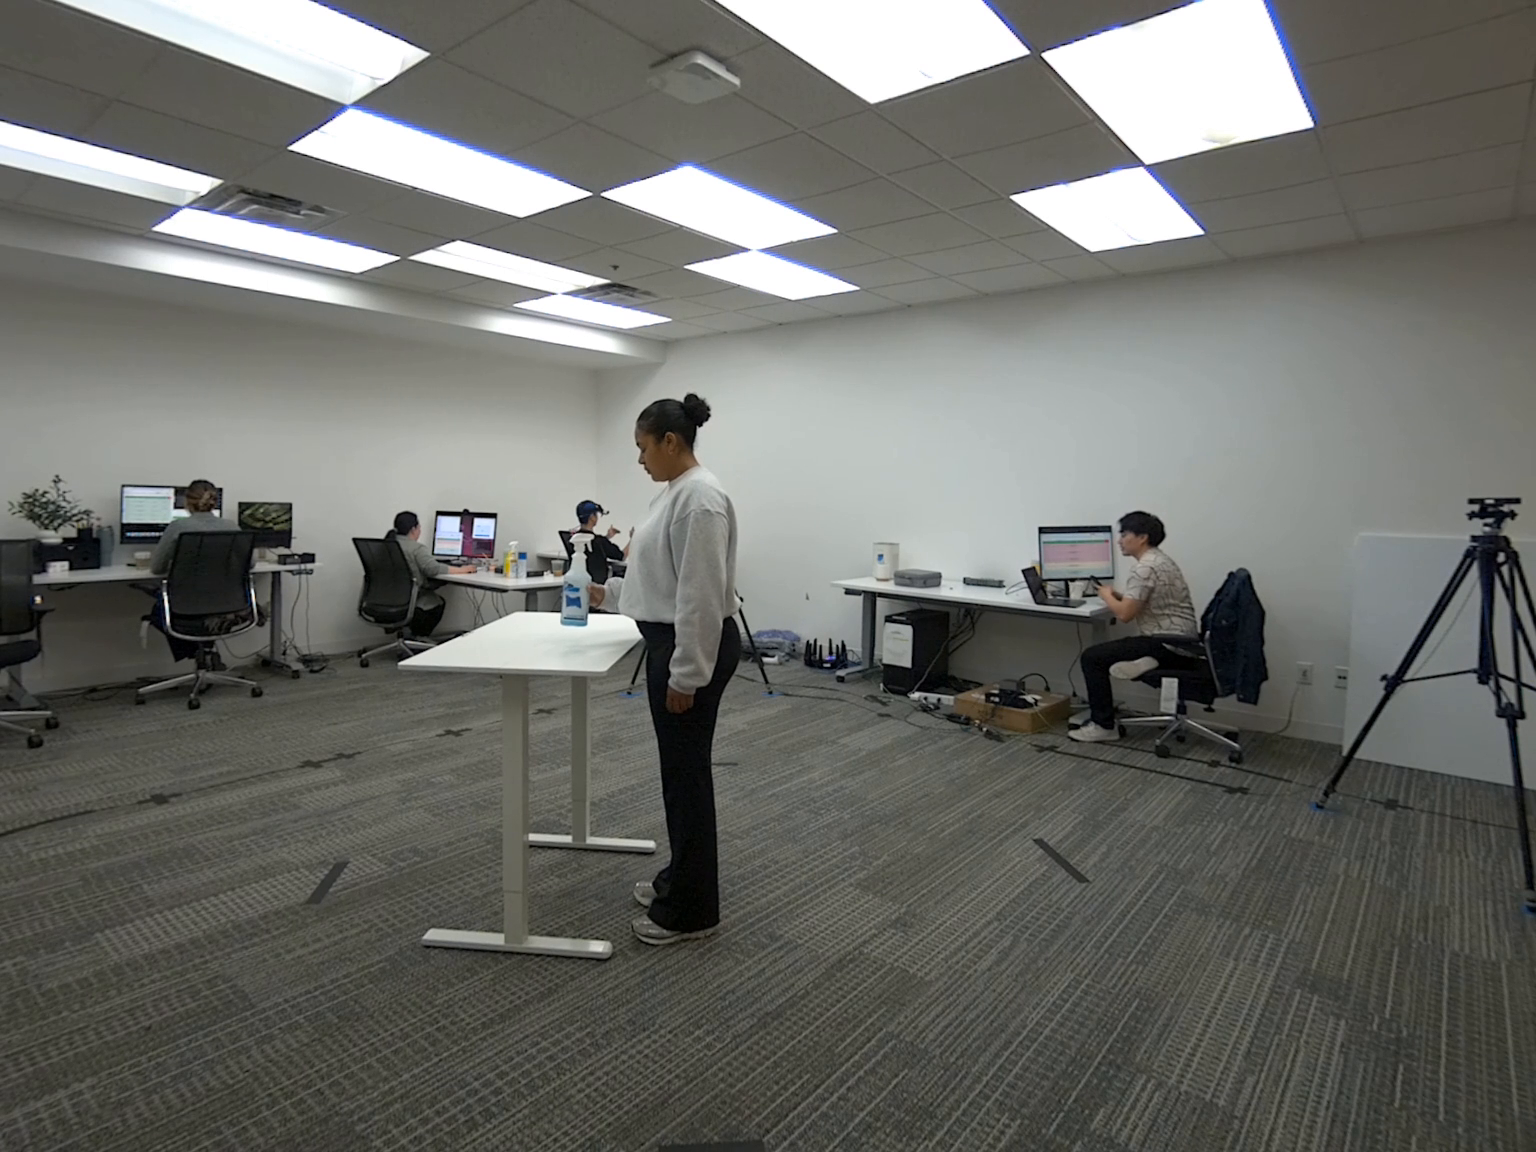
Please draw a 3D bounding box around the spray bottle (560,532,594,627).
[{"bbox_3d":[-0.617,0.014,2.730,0.088,0.298,0.089,6,-4,-25],"label":"spray bottle"}]
